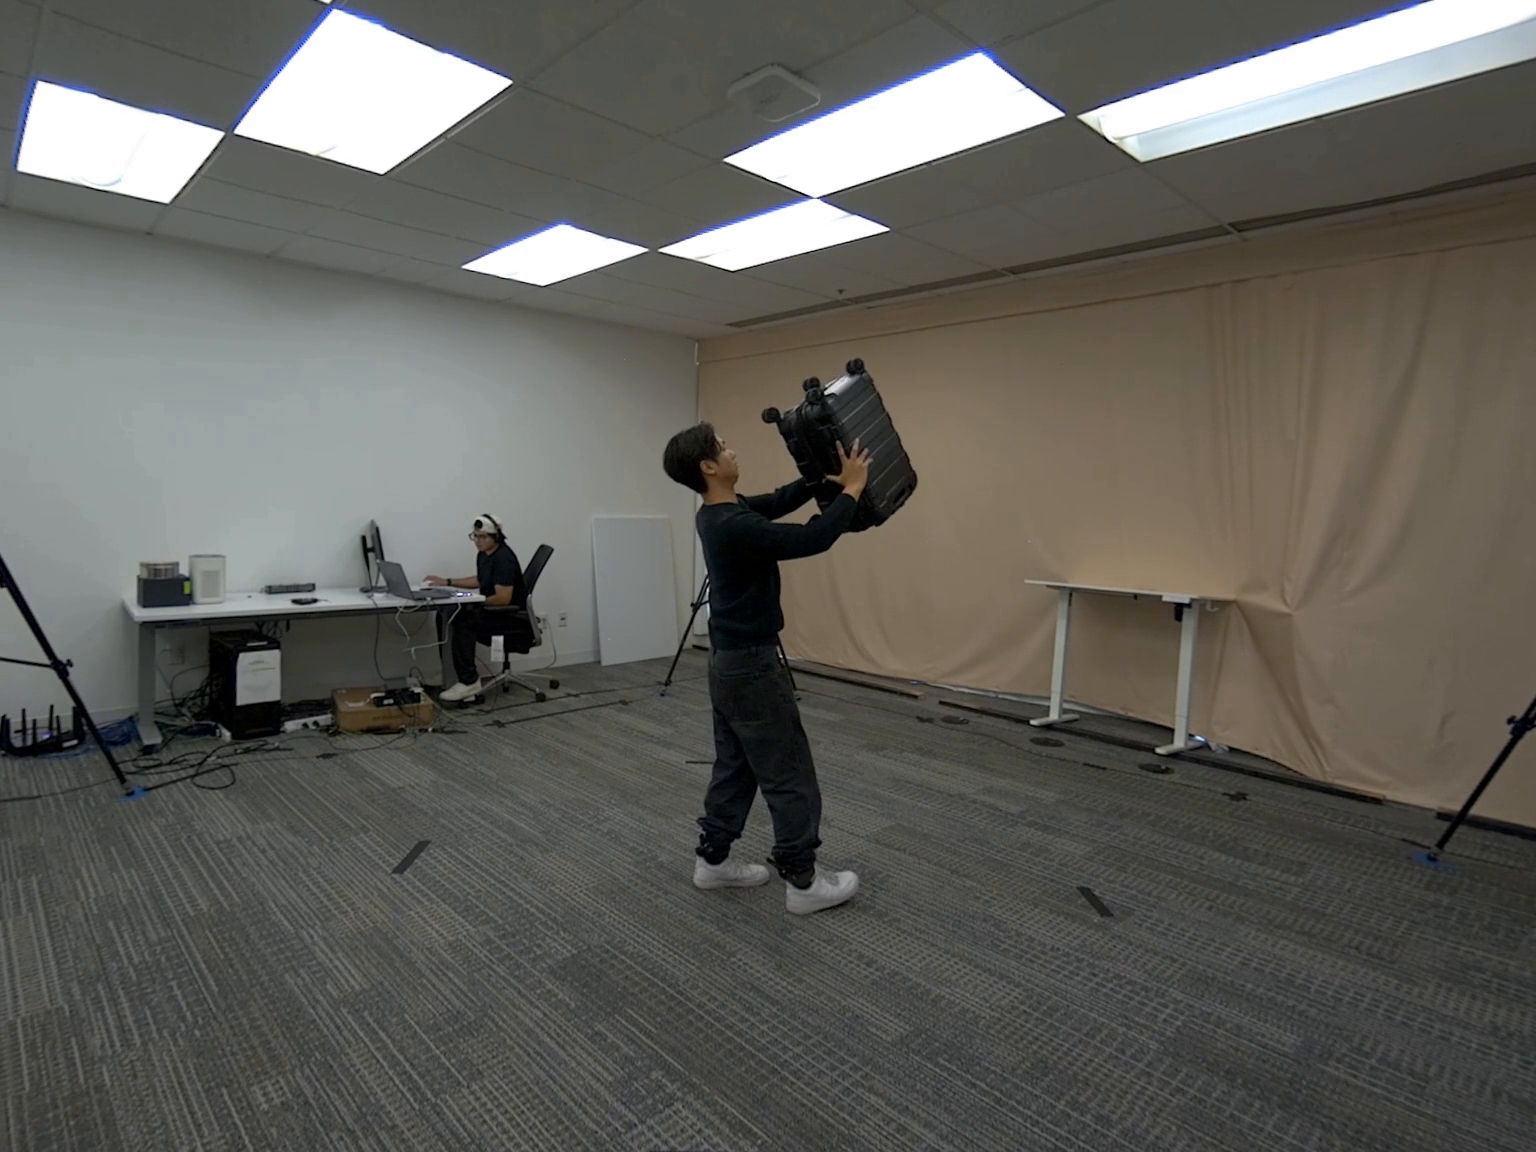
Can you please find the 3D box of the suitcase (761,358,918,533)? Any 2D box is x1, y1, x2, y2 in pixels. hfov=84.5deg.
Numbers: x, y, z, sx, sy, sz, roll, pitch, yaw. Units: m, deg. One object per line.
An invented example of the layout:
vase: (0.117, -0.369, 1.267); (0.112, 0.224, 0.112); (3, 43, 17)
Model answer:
suitcase: (0.284, -0.451, 3.005); (0.252, 0.541, 0.375); (-16, 20, 42)
